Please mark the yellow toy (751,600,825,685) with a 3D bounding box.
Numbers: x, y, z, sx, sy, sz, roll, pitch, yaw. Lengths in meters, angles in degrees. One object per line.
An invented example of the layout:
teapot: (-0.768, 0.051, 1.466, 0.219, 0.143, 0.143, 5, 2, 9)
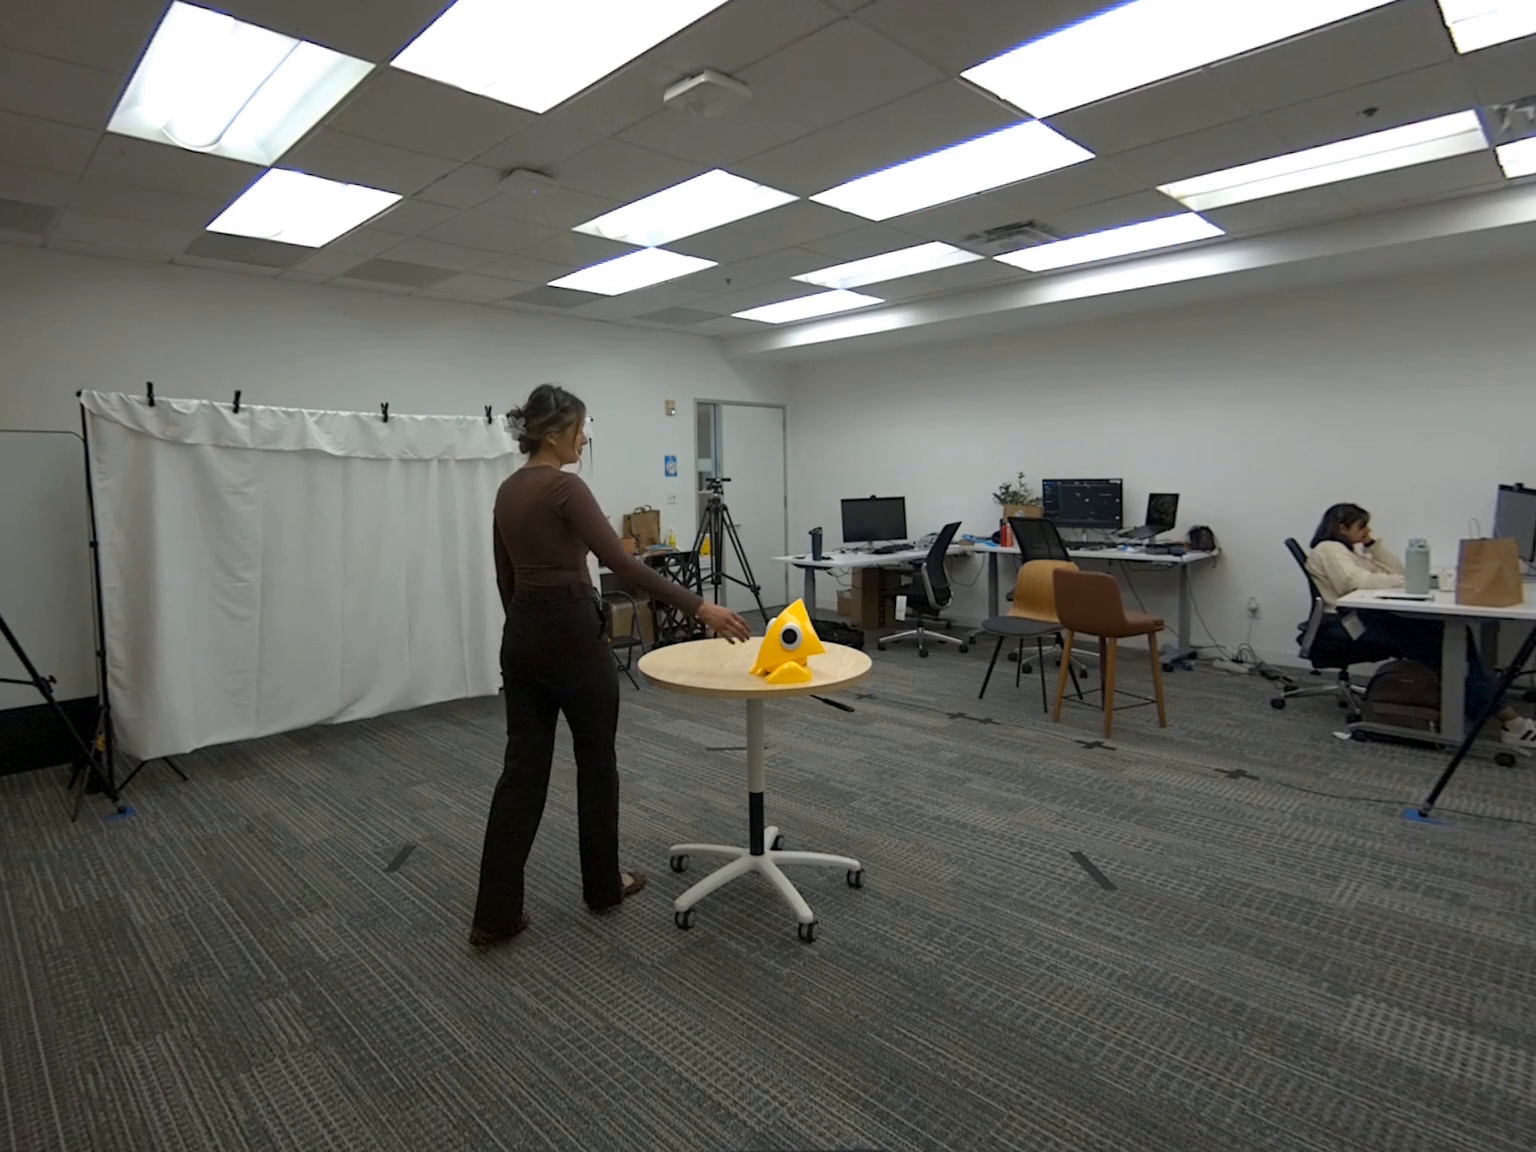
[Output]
yellow toy: (0.048, 0.190, 2.604, 0.189, 0.229, 0.210, -3, 6, -24)
